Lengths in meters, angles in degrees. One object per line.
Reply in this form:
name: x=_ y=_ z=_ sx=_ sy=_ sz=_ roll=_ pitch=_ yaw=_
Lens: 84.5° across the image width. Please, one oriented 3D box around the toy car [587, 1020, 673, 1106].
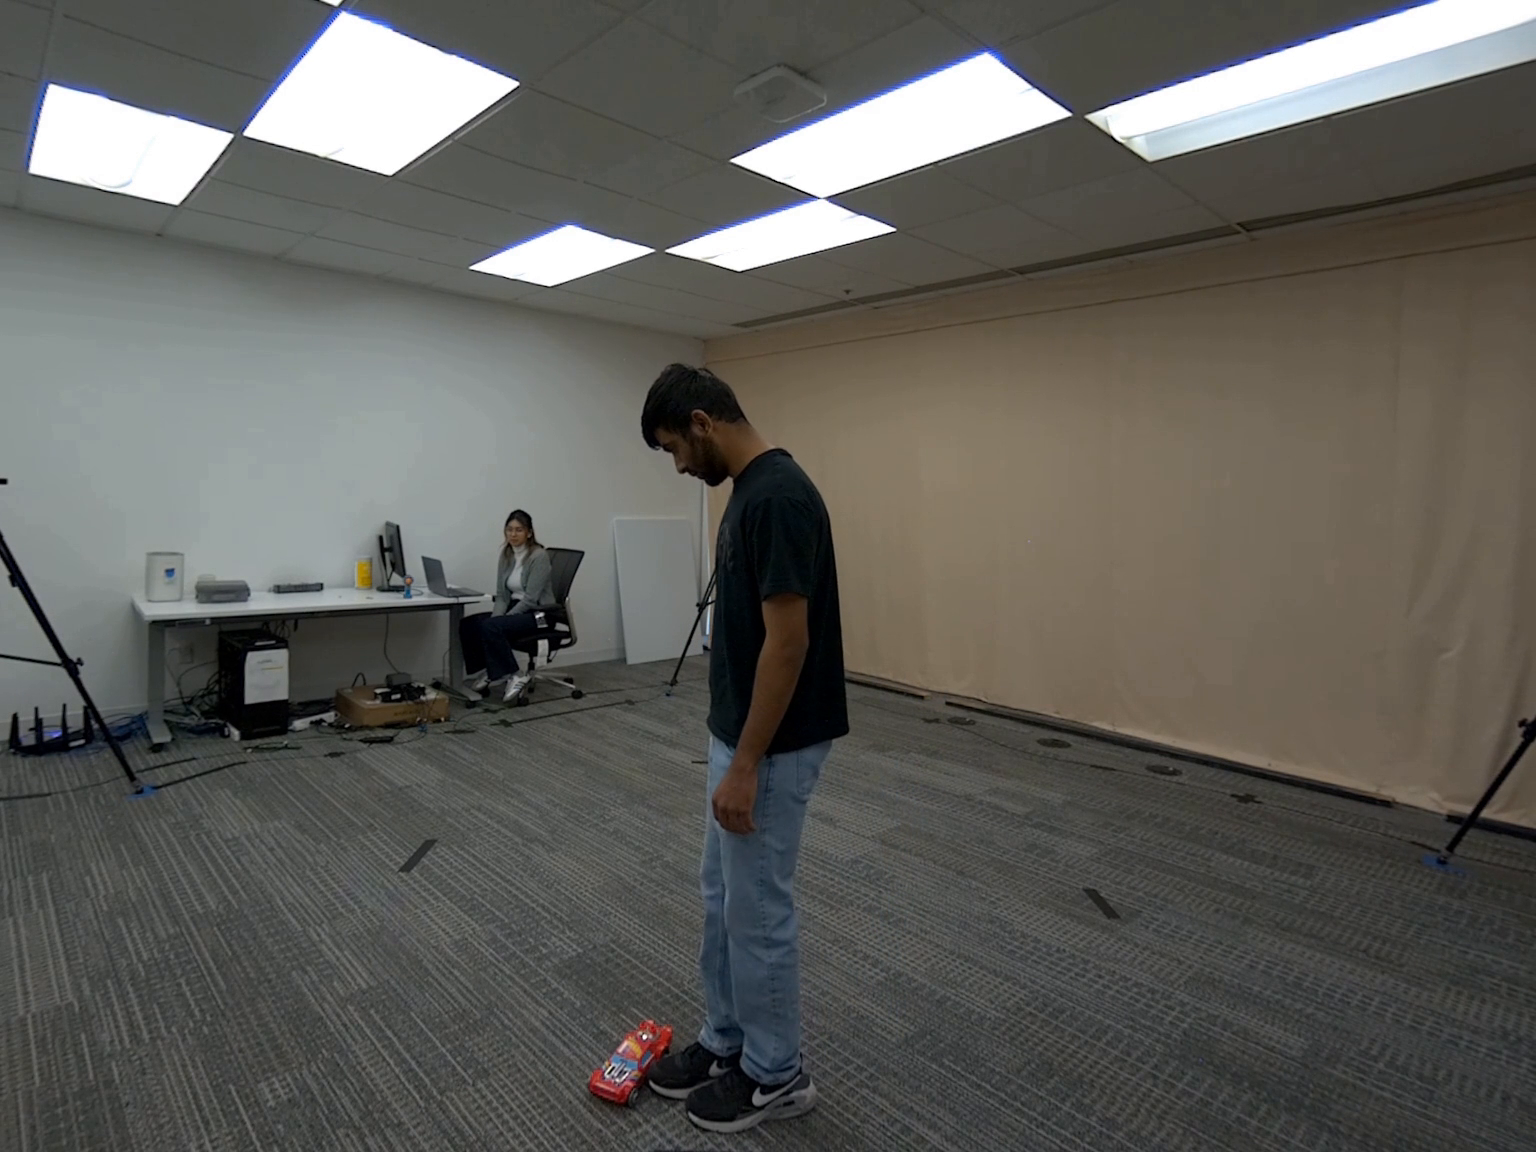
toy car: x=-0.324 y=1.175 z=2.020 sx=0.133 sy=0.082 sz=0.253 roll=2 pitch=16 yaw=23
